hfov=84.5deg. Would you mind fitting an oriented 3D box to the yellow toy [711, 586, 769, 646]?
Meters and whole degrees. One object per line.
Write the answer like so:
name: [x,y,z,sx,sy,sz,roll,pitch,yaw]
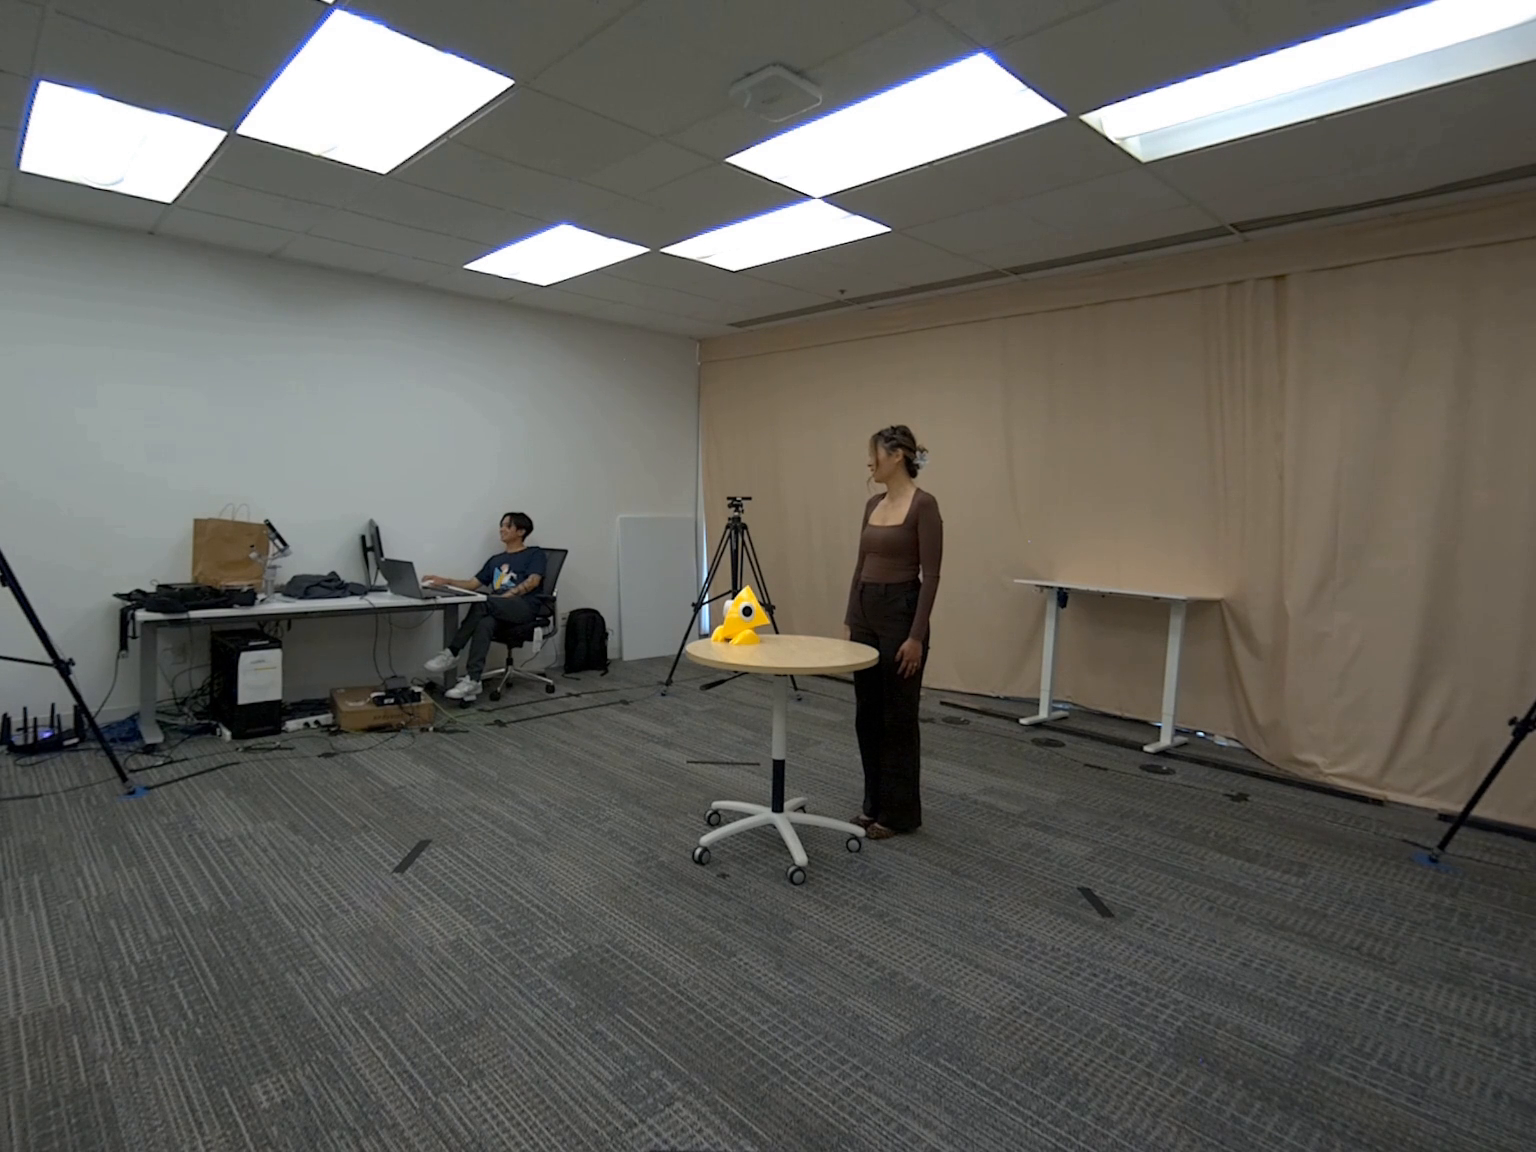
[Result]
yellow toy: [-0.129,0.157,3.534,0.210,0.230,0.189,4,5,42]
